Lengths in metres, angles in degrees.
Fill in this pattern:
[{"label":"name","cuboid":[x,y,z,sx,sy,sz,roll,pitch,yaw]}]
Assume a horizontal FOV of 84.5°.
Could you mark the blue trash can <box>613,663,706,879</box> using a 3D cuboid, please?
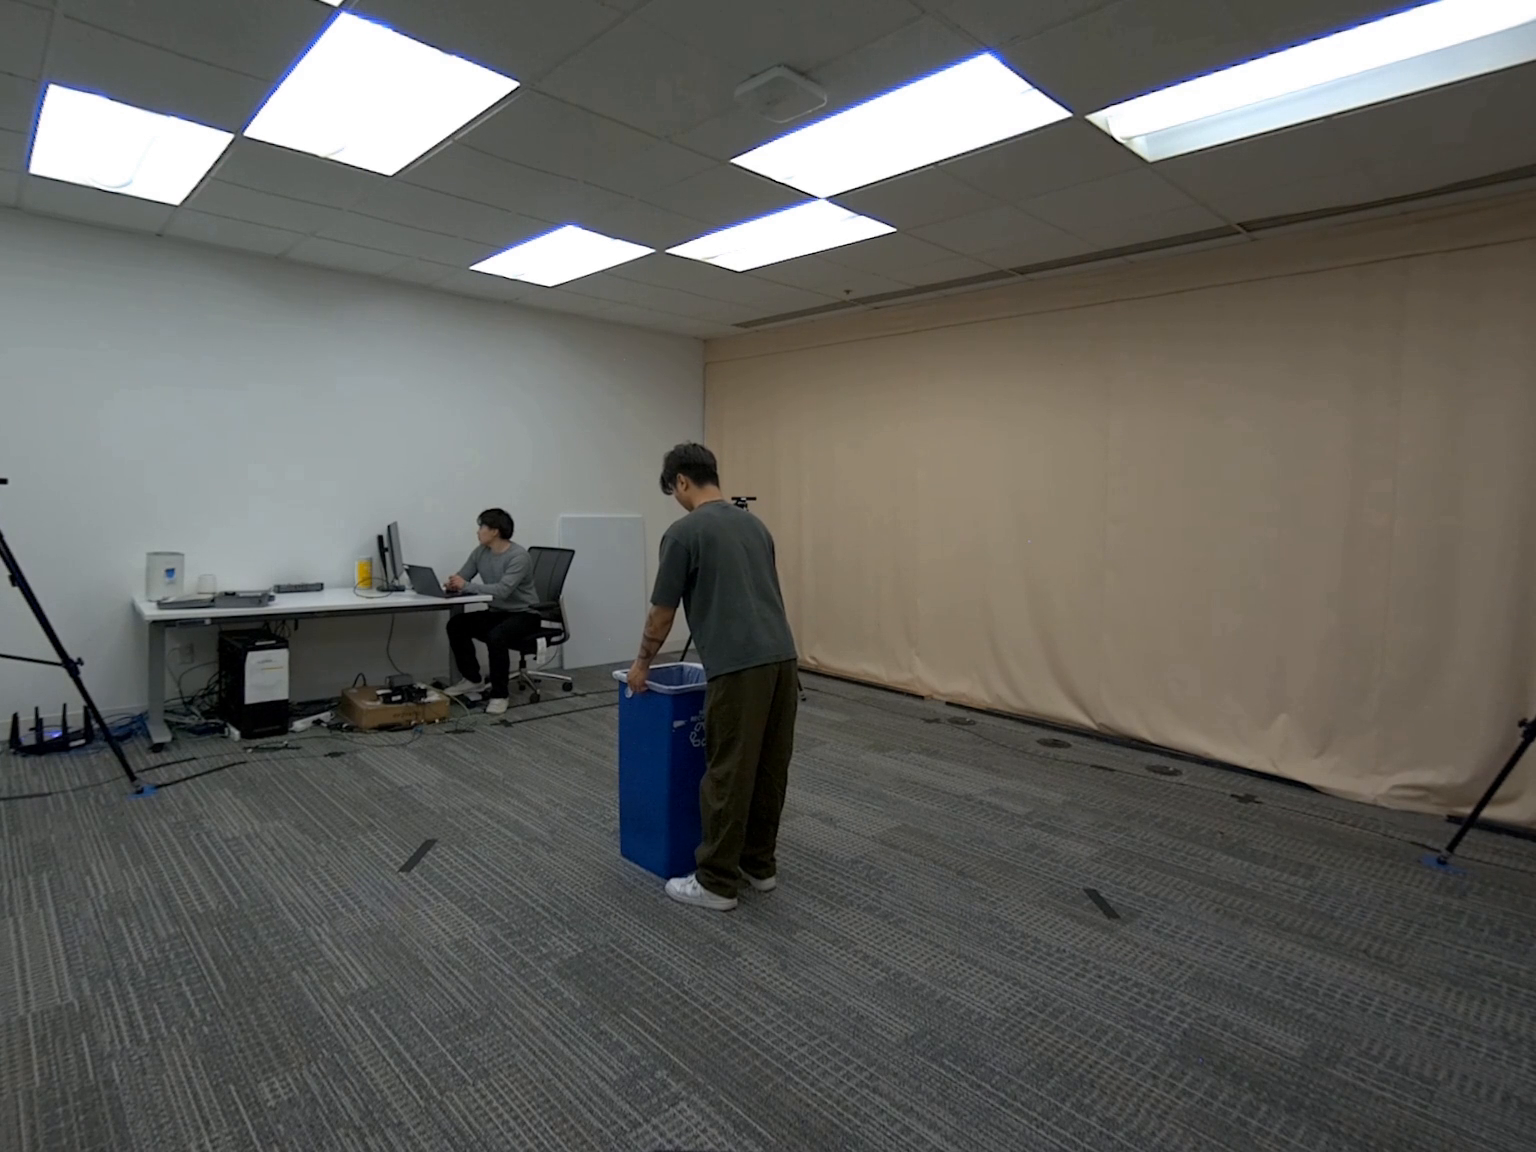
[{"label":"blue trash can","cuboid":[-0.371,0.731,3.247,0.369,0.712,0.384,-1,5,-45]}]
